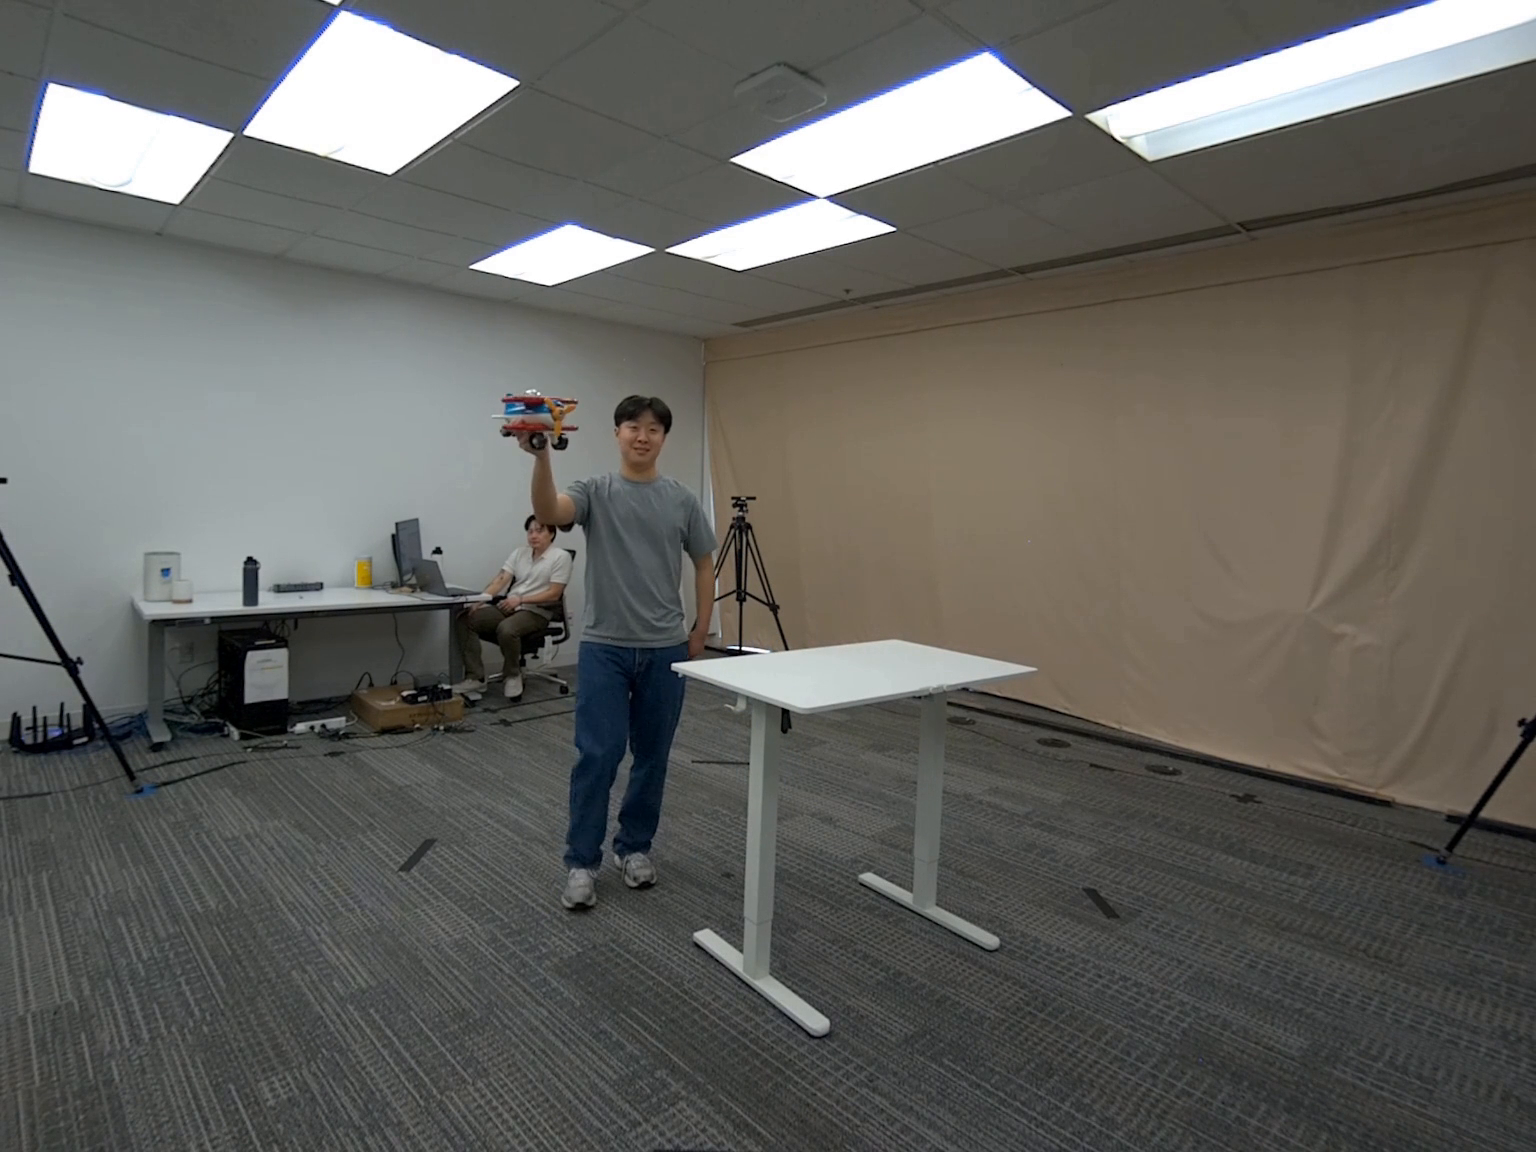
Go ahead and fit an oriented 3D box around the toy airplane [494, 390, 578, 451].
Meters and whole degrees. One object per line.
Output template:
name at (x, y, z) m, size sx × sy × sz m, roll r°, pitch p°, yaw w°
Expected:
toy airplane at (-0.719, -0.468, 2.505) m, size 0.261 × 0.155 × 0.251 m, roll 14°, pitch 16°, yaw 7°
